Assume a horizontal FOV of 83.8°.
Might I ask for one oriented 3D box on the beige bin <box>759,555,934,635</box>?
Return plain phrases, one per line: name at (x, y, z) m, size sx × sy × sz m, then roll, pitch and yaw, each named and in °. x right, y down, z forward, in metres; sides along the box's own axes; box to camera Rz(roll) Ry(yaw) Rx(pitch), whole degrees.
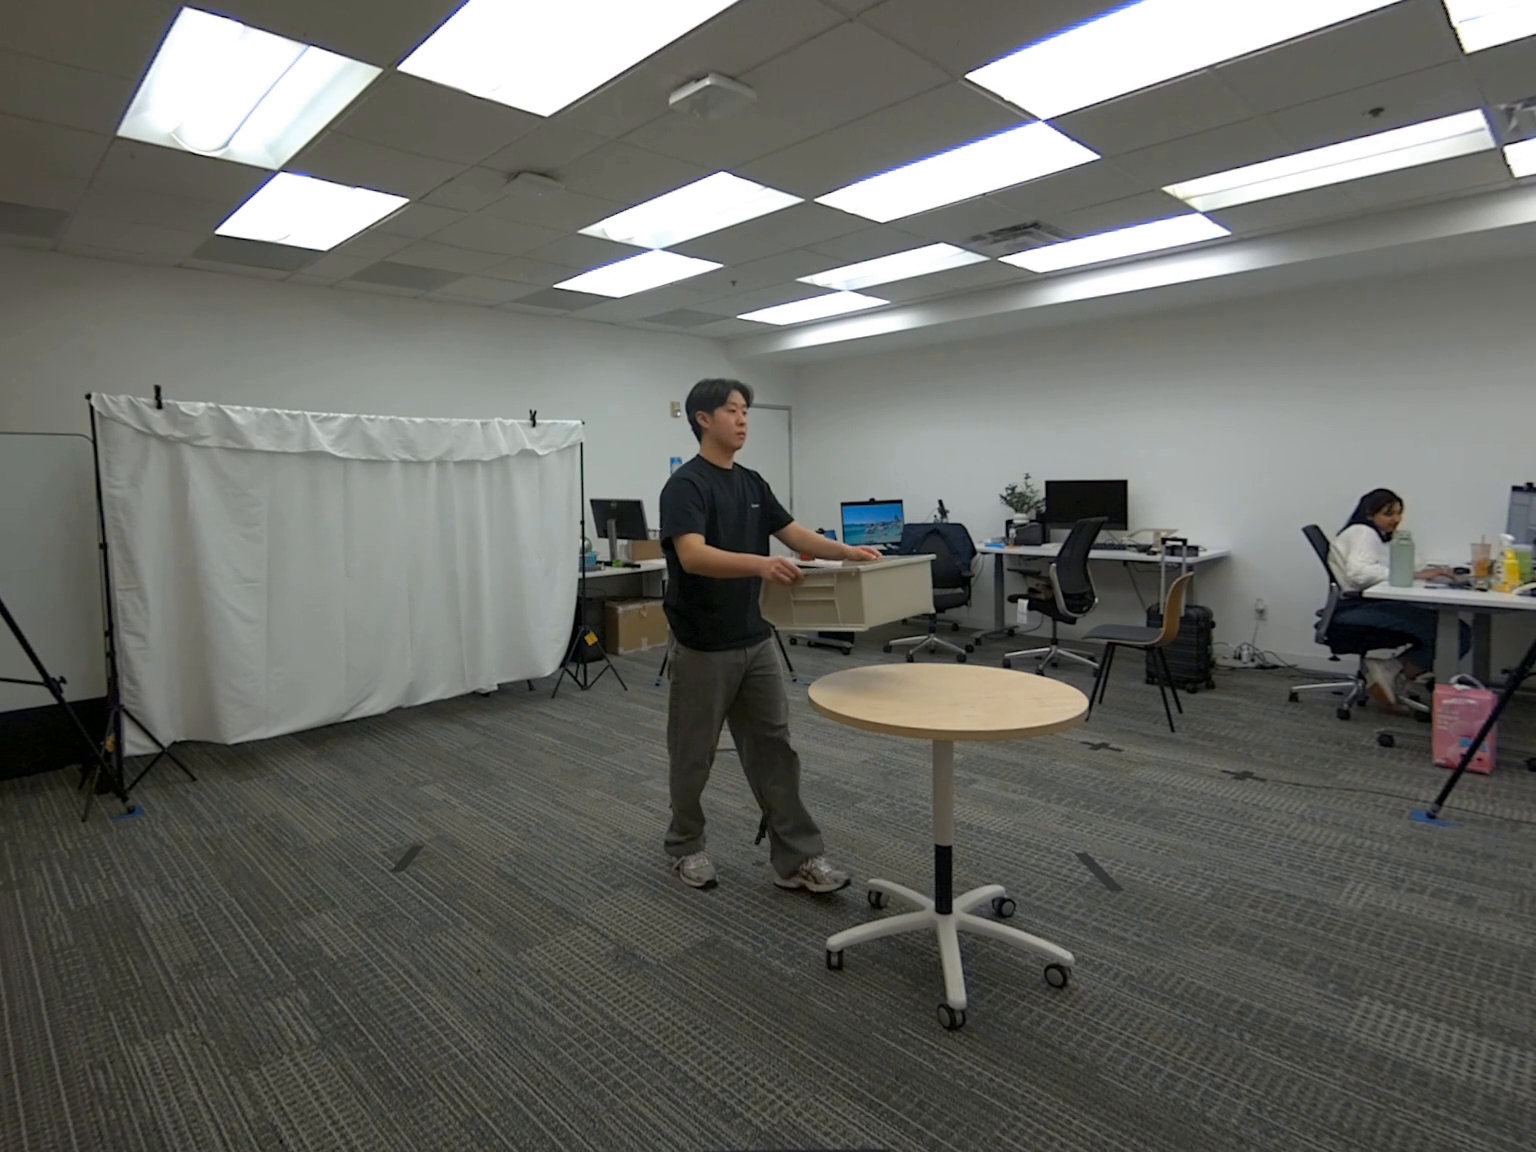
beige bin at (0.241, 0.056, 2.619) m, size 0.388 × 0.189 × 0.411 m, roll 0°, pitch 4°, yaw 43°
